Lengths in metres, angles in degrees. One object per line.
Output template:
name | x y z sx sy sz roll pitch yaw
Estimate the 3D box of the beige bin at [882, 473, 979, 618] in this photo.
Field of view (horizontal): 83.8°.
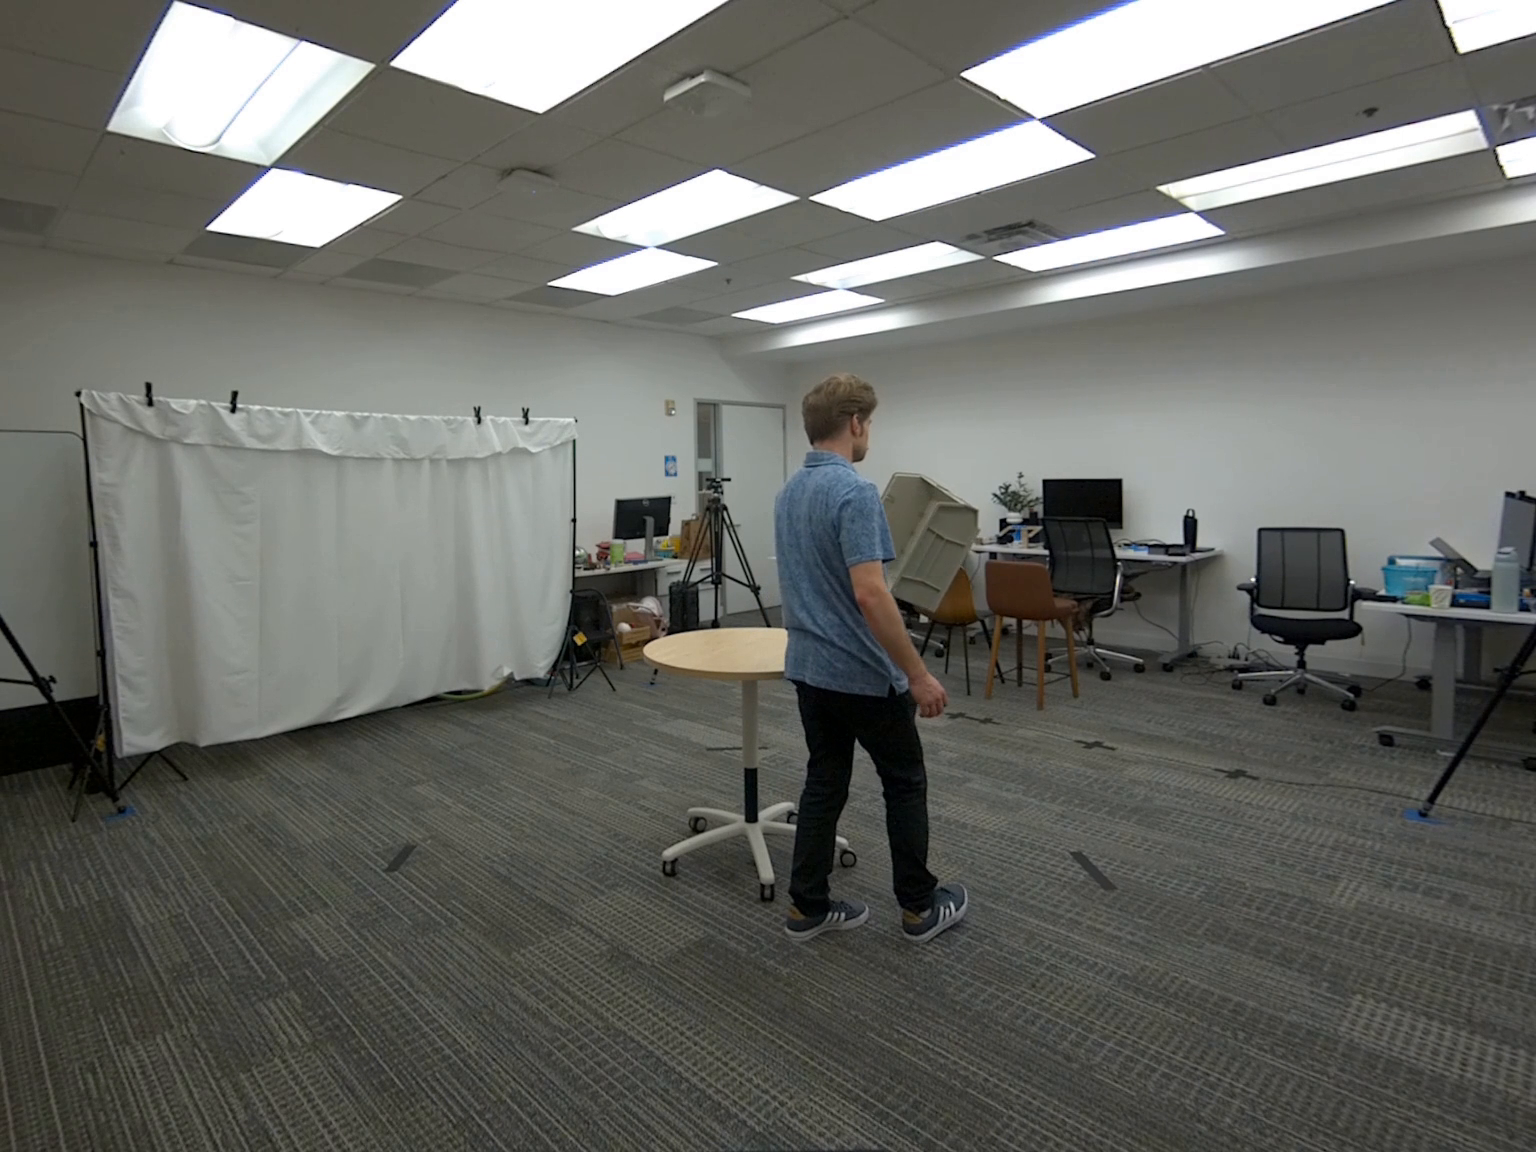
beige bin | 0.506 -0.139 2.912 0.185 0.375 0.432 21 11 -17
